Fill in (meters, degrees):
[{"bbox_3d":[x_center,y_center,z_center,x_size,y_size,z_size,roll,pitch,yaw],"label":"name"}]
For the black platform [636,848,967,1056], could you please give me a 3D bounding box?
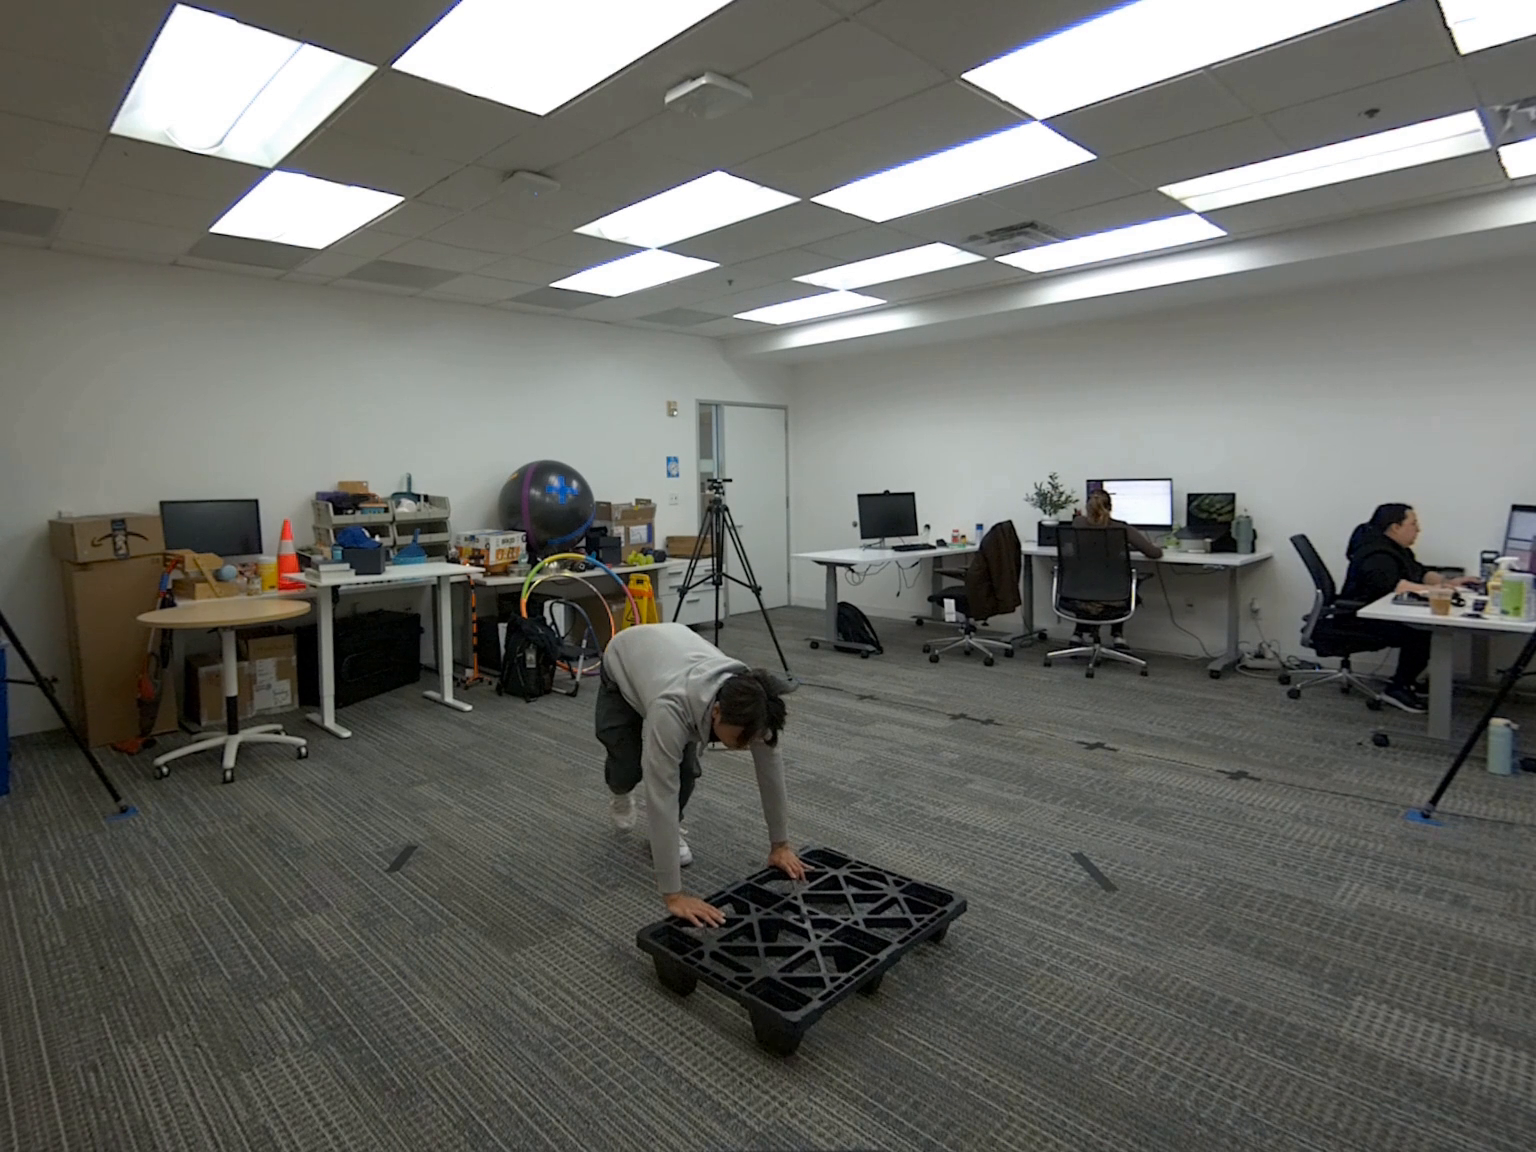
[{"bbox_3d":[0.119,1.045,2.474,0.624,0.142,0.785,5,9,43],"label":"black platform"}]
